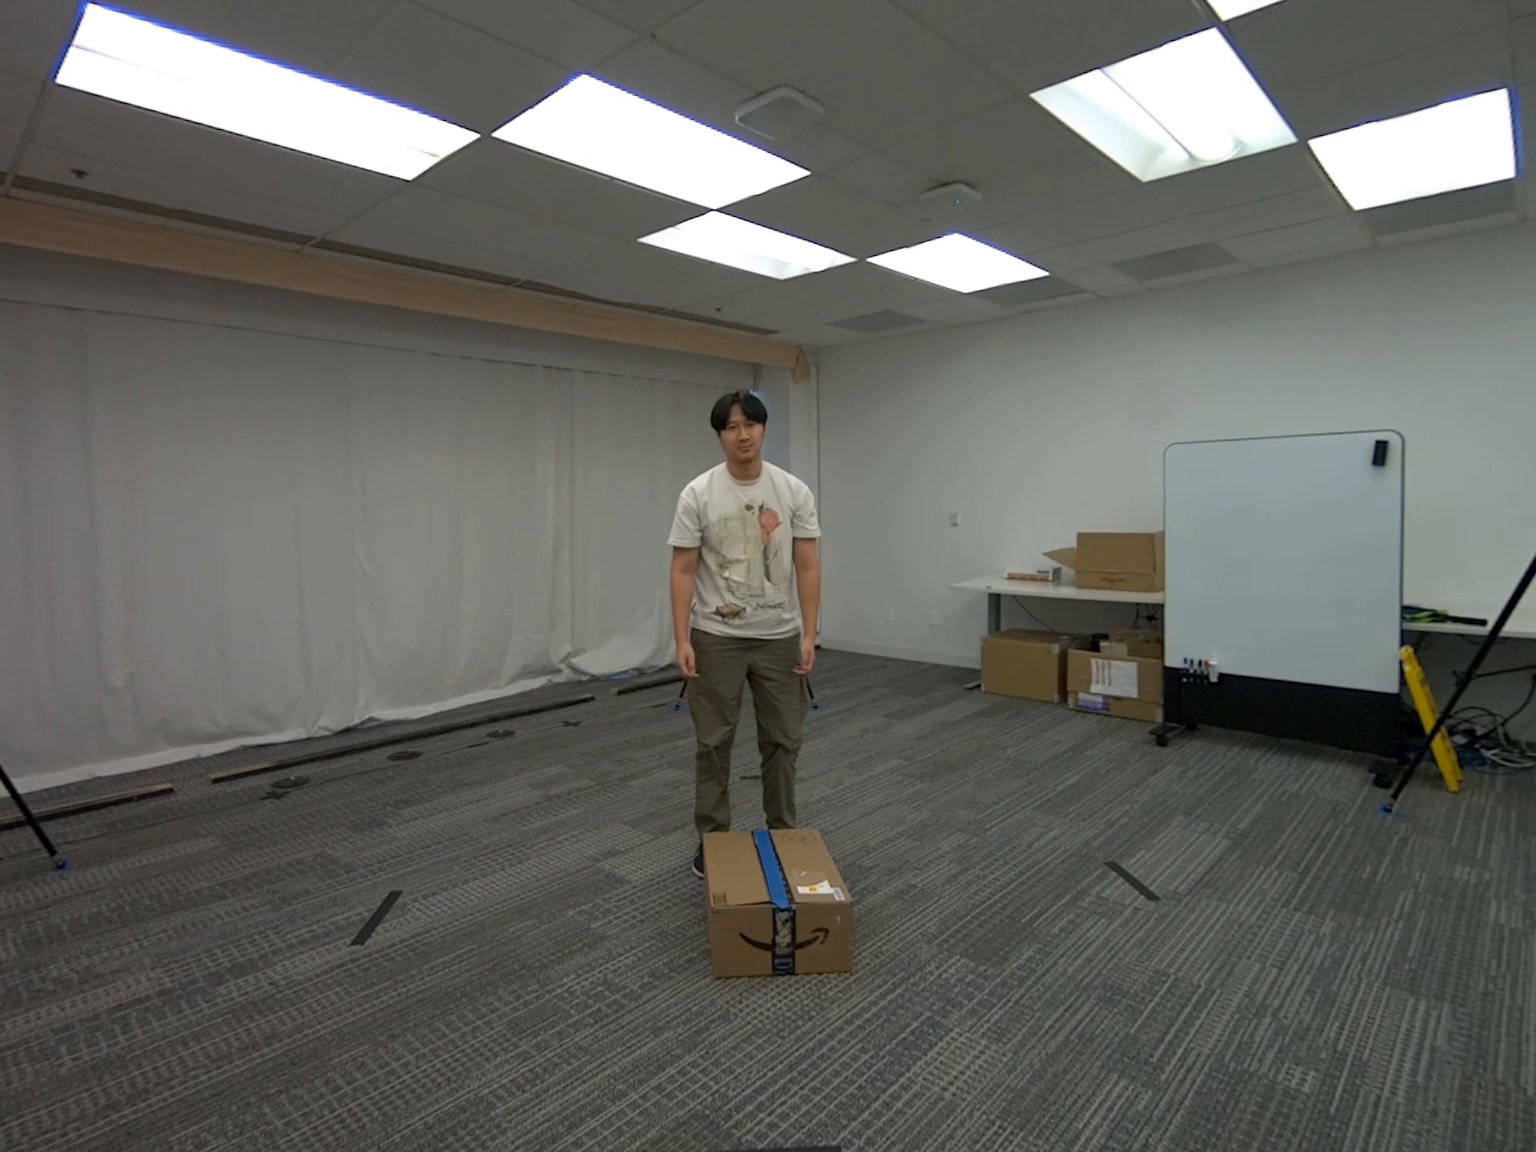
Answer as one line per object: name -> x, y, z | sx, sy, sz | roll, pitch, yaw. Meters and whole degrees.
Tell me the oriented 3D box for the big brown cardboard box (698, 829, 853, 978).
big brown cardboard box -> 0.011, 1.040, 2.742 | 0.415, 0.233, 0.593 | -1, 3, -6
